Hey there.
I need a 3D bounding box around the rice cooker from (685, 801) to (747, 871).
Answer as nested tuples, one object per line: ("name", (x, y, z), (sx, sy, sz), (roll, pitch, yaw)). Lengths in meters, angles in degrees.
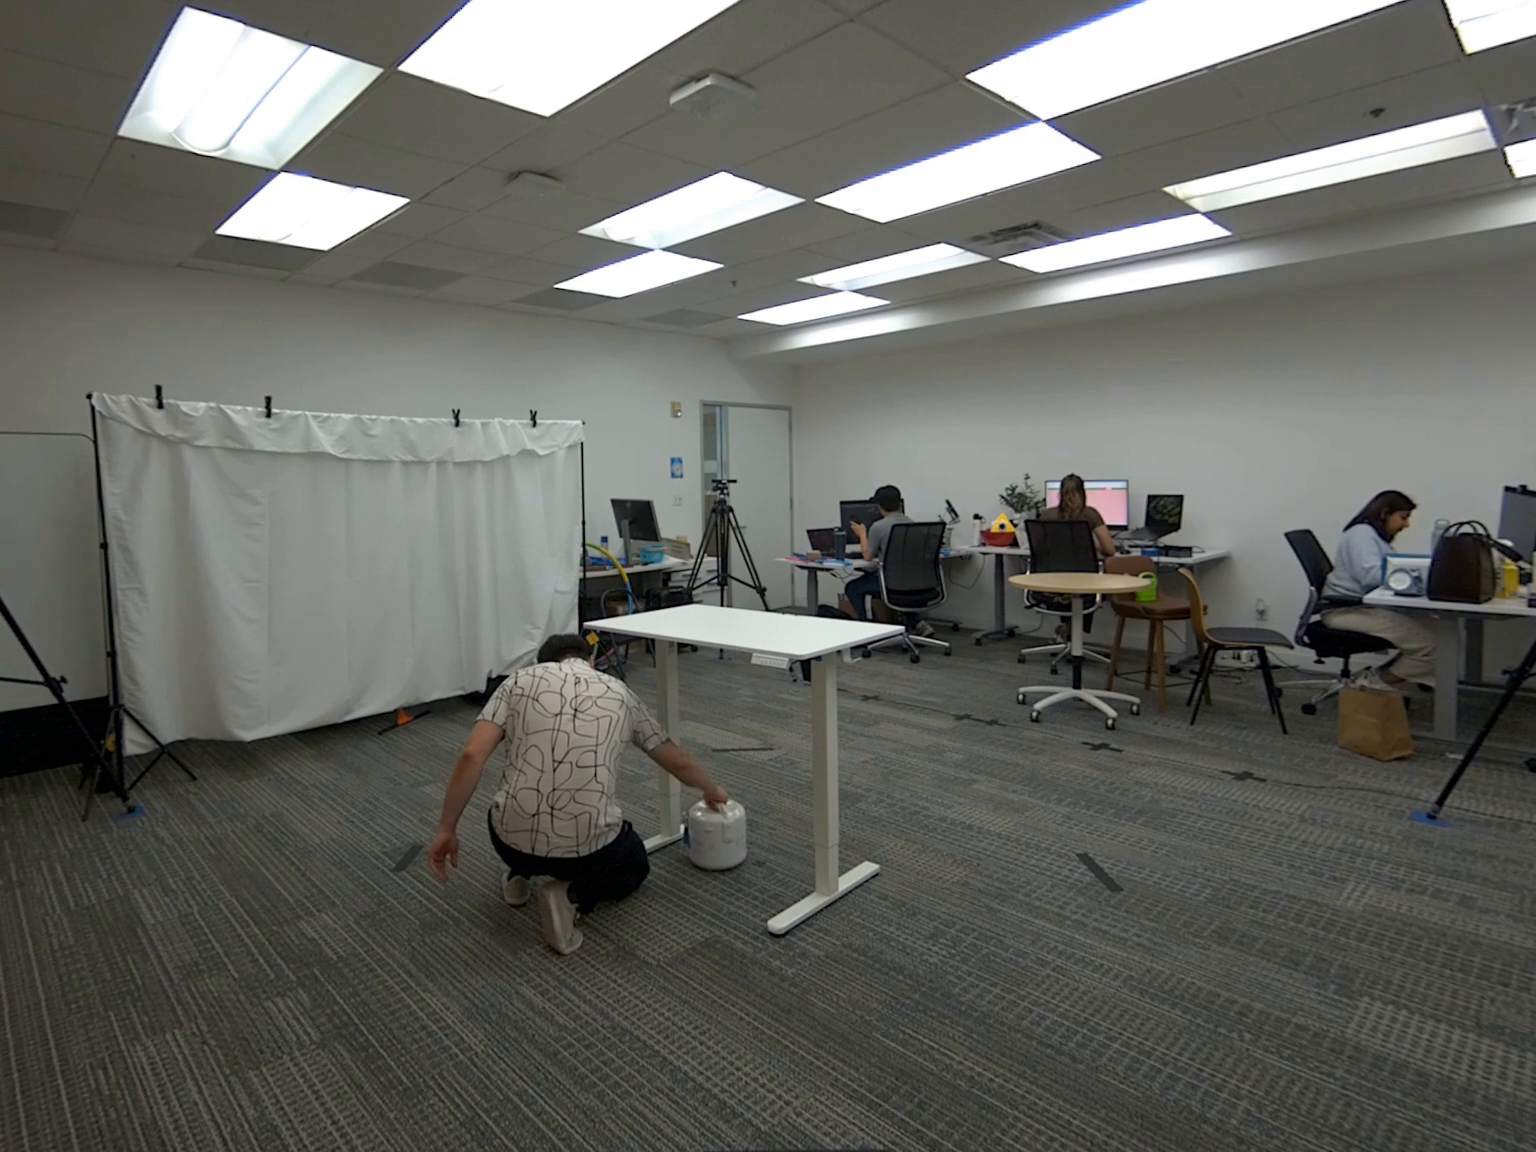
("rice cooker", (-0.182, 0.931, 3.128), (0.213, 0.232, 0.226), (-3, 6, -24))
